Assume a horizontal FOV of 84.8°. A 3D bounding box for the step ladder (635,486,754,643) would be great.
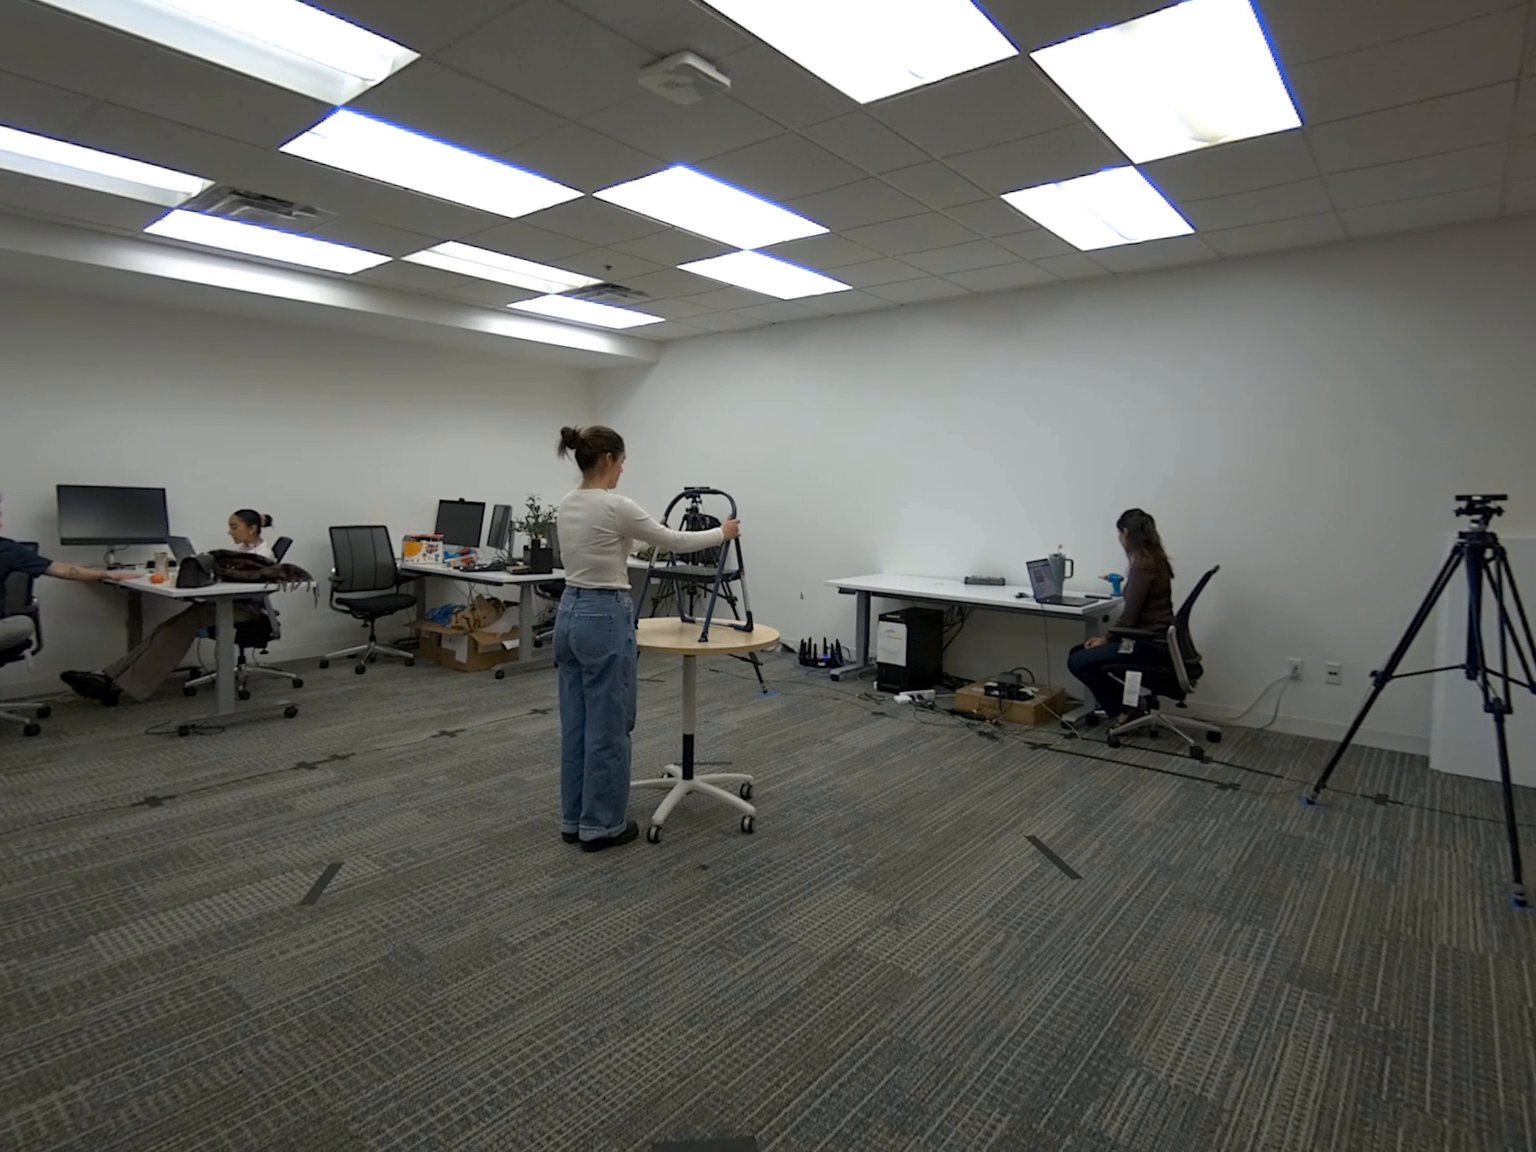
[{"bbox_3d":[-0.327,-0.072,3.625,0.445,0.604,0.339,5,5,37],"label":"step ladder"}]
